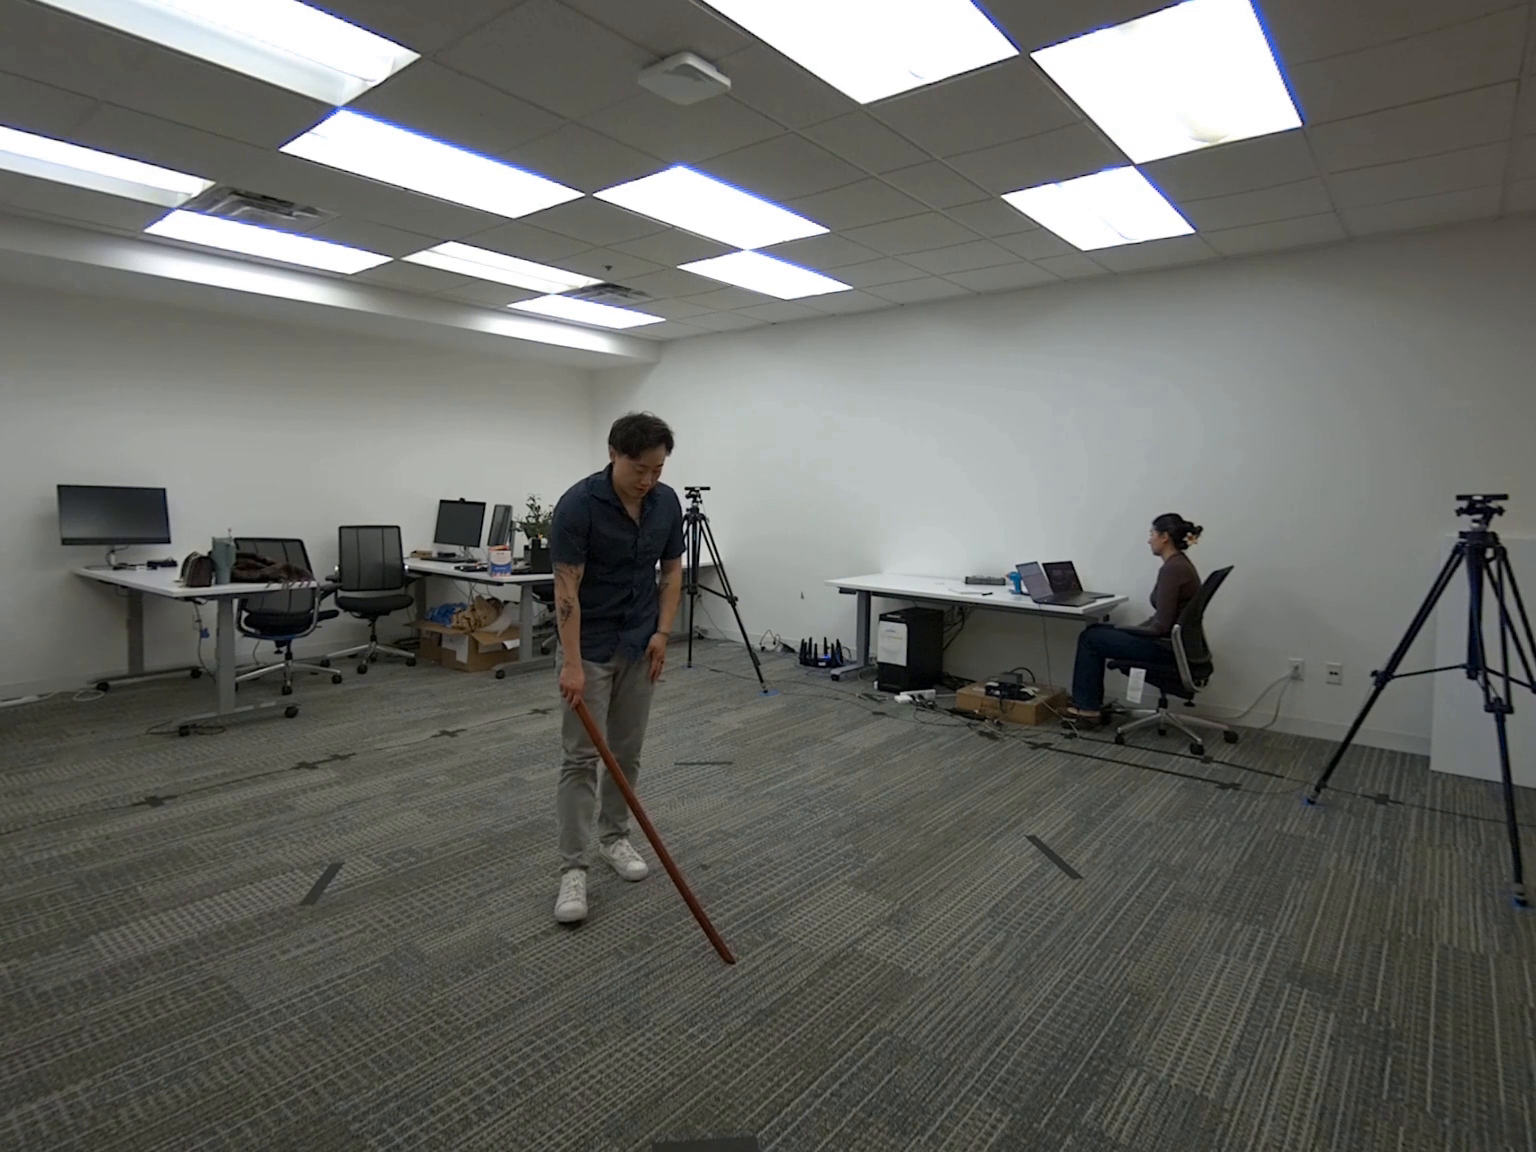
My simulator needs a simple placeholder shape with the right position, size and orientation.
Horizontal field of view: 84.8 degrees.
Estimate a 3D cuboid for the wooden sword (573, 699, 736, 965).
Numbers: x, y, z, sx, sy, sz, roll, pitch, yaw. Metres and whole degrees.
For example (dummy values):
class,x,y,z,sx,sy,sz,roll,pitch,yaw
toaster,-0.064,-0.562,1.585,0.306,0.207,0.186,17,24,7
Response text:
class,x,y,z,sx,sy,sz,roll,pitch,yaw
wooden sword,-0.398,0.728,2.641,0.023,1.050,0.051,-21,-23,-39
